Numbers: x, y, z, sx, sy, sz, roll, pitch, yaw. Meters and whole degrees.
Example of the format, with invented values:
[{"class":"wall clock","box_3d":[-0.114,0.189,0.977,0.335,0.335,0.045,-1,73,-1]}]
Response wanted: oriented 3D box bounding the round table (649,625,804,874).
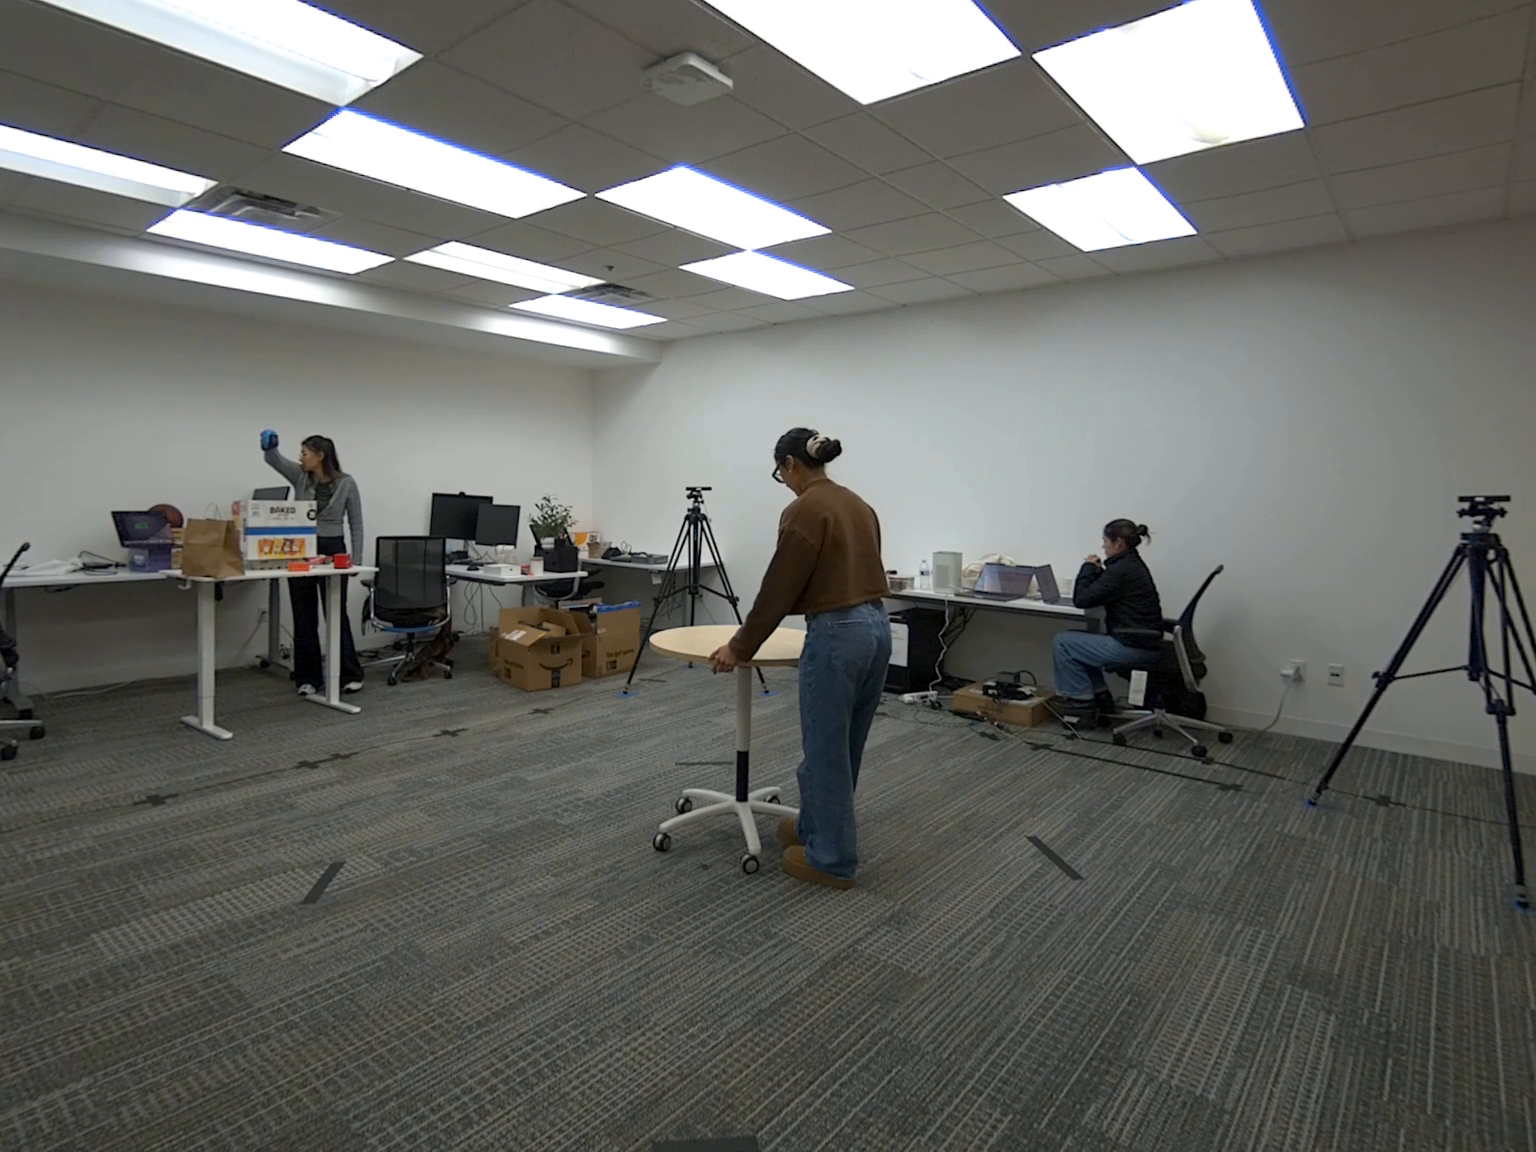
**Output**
[{"class":"round table","box_3d":[-0.114,0.649,3.405,0.763,0.792,0.767,1,4,-2]}]
